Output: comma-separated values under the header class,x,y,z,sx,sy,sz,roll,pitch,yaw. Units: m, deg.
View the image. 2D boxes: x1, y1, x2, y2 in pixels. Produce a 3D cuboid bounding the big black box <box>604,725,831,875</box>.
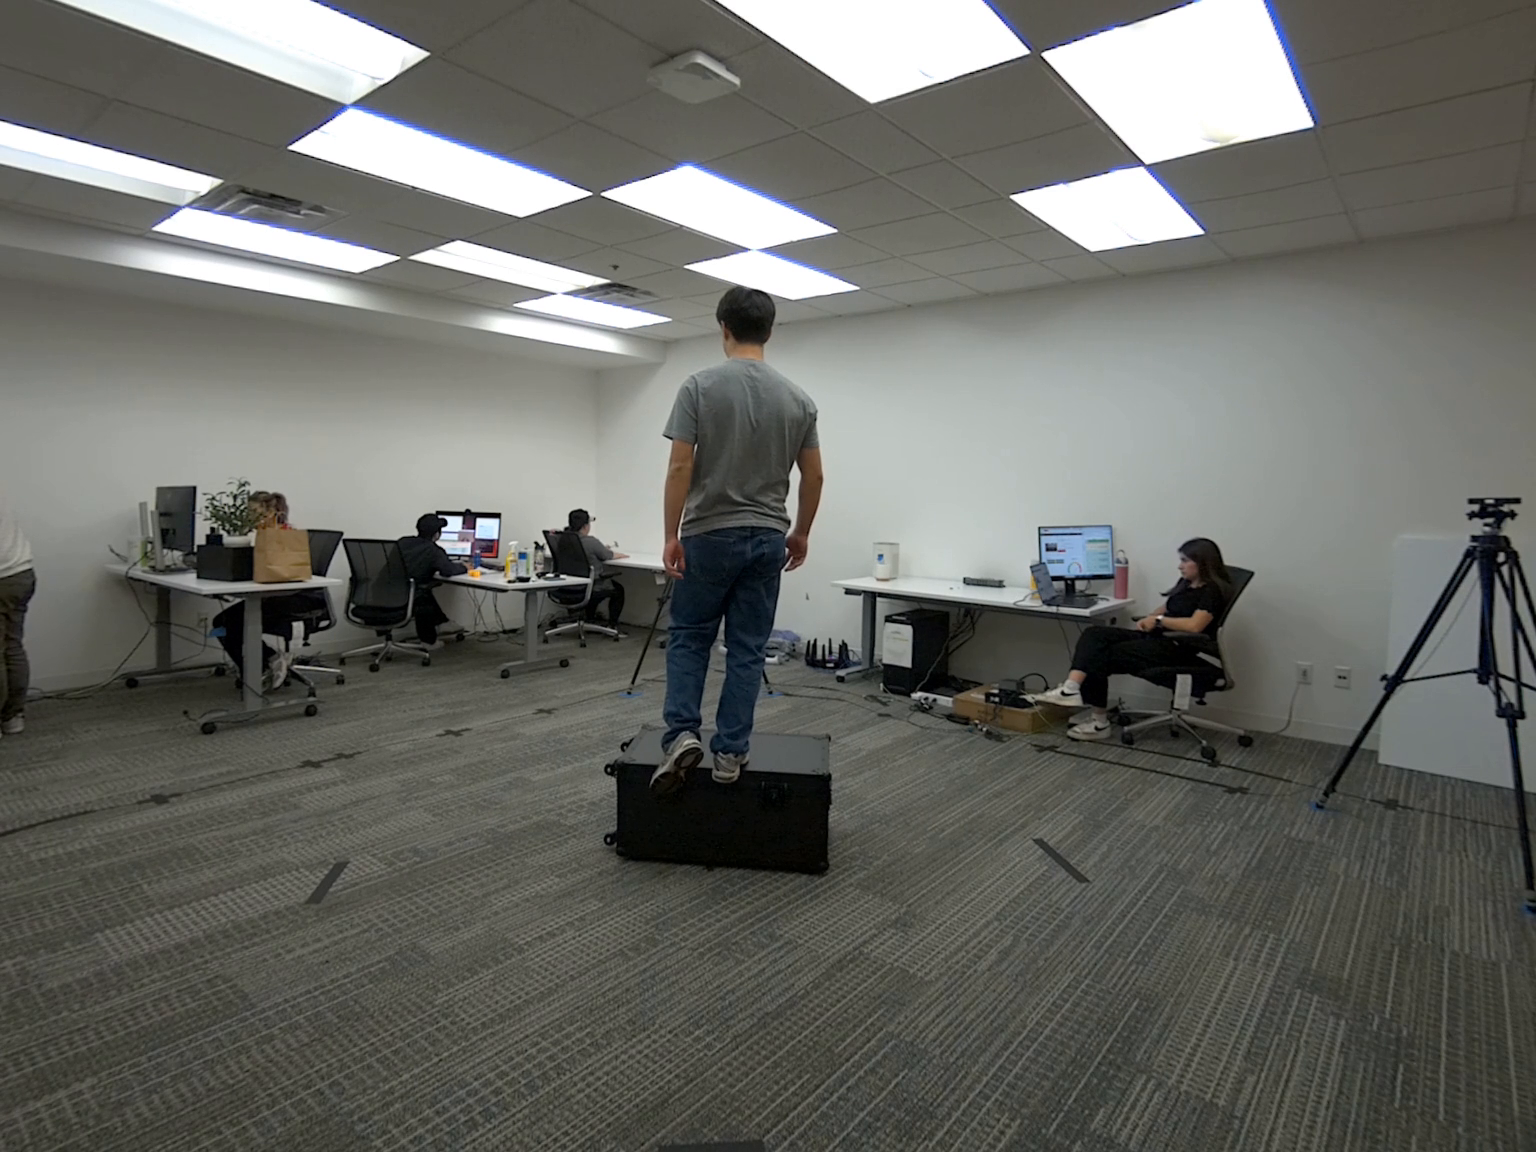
class,x,y,z,sx,sy,sz,roll,pitch,yaw
big black box,-0.197,0.850,3.335,0.868,0.394,0.520,2,6,6
